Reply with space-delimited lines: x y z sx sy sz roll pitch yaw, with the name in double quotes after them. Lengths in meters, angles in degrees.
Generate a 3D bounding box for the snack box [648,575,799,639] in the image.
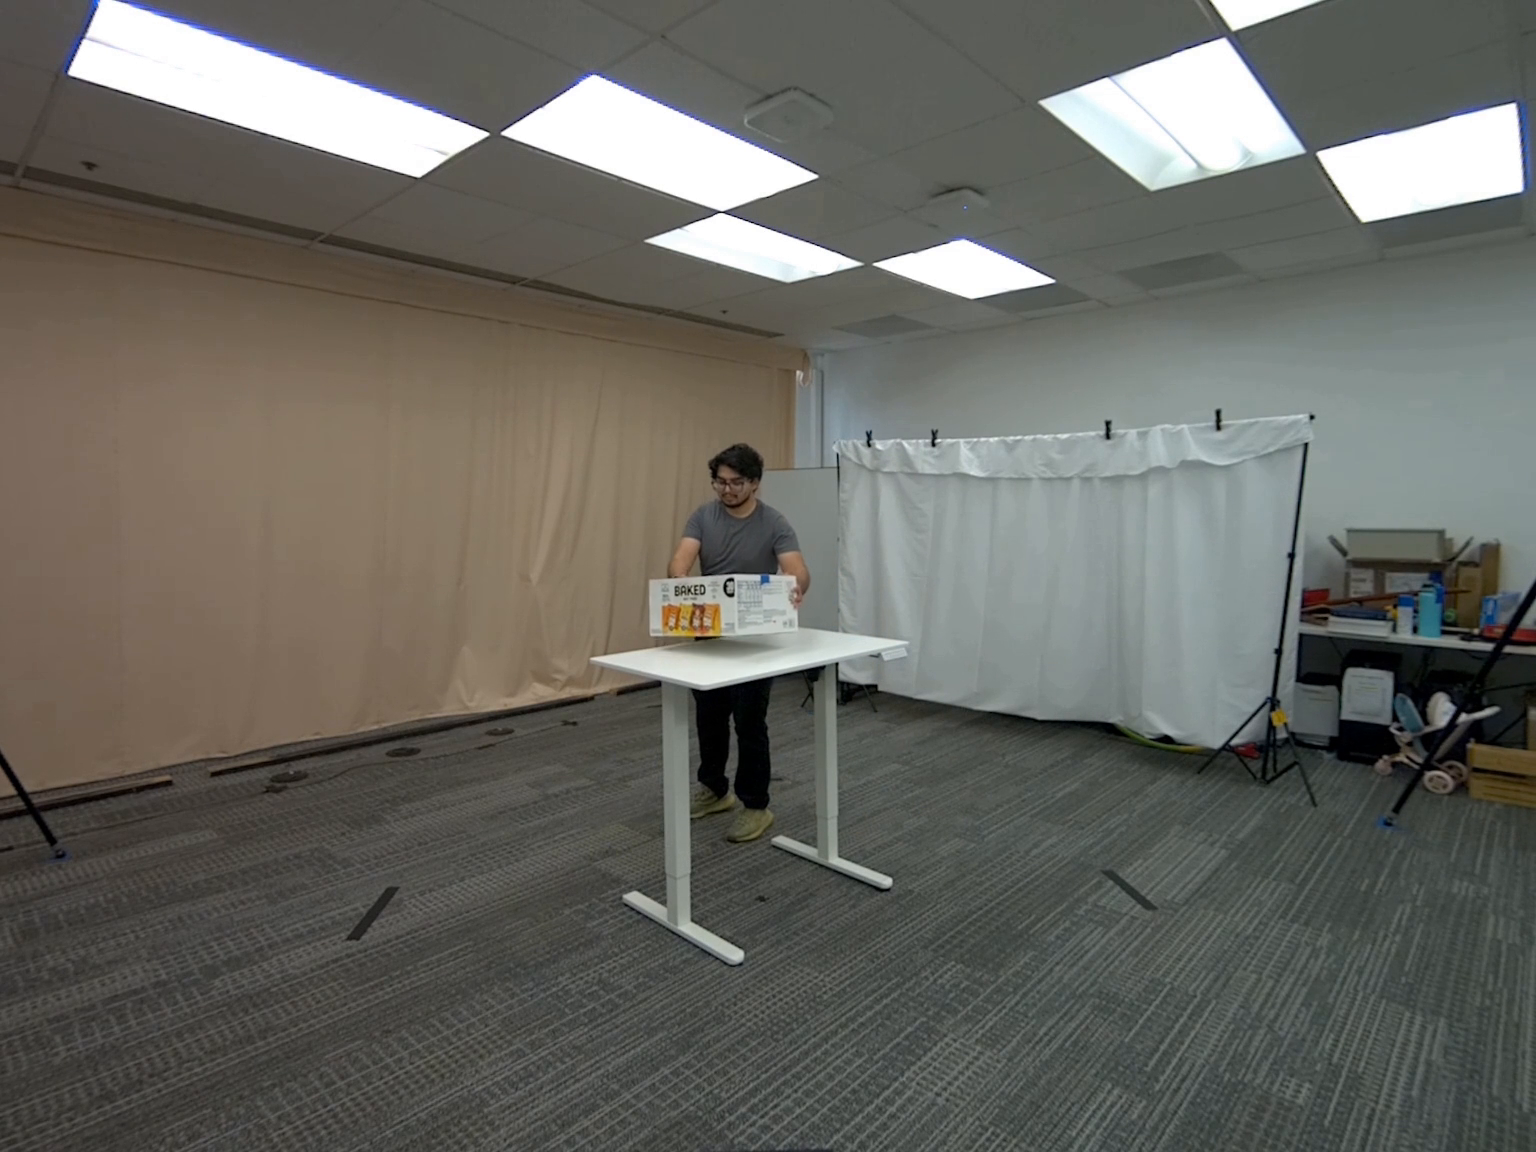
-0.164 0.109 3.011 0.417 0.206 0.329 -4 -3 40 "snack box"
